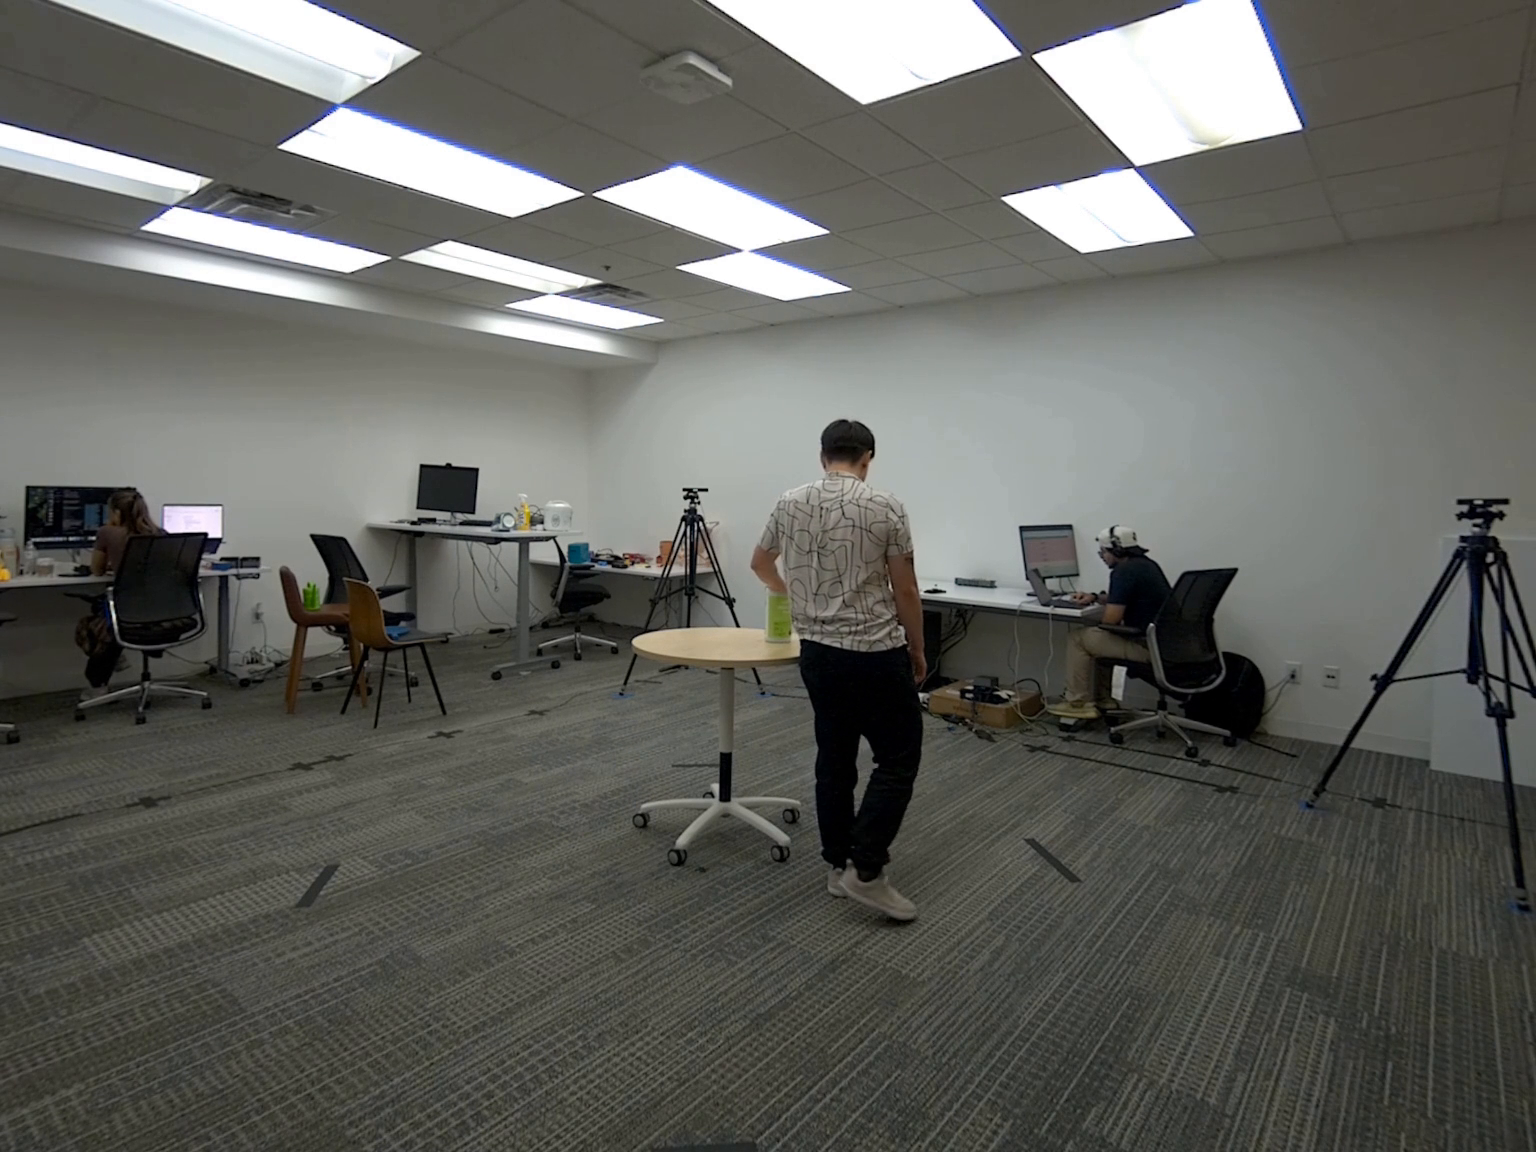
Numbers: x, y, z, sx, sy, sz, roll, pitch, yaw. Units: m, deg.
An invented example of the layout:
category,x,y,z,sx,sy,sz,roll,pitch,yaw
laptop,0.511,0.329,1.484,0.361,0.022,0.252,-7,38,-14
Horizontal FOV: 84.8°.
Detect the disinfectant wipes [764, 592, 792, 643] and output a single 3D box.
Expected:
category,x,y,z,sx,sy,sz,roll,pitch,yaw
disinfectant wipes,0.030,0.156,3.454,0.118,0.216,0.118,0,5,-2
